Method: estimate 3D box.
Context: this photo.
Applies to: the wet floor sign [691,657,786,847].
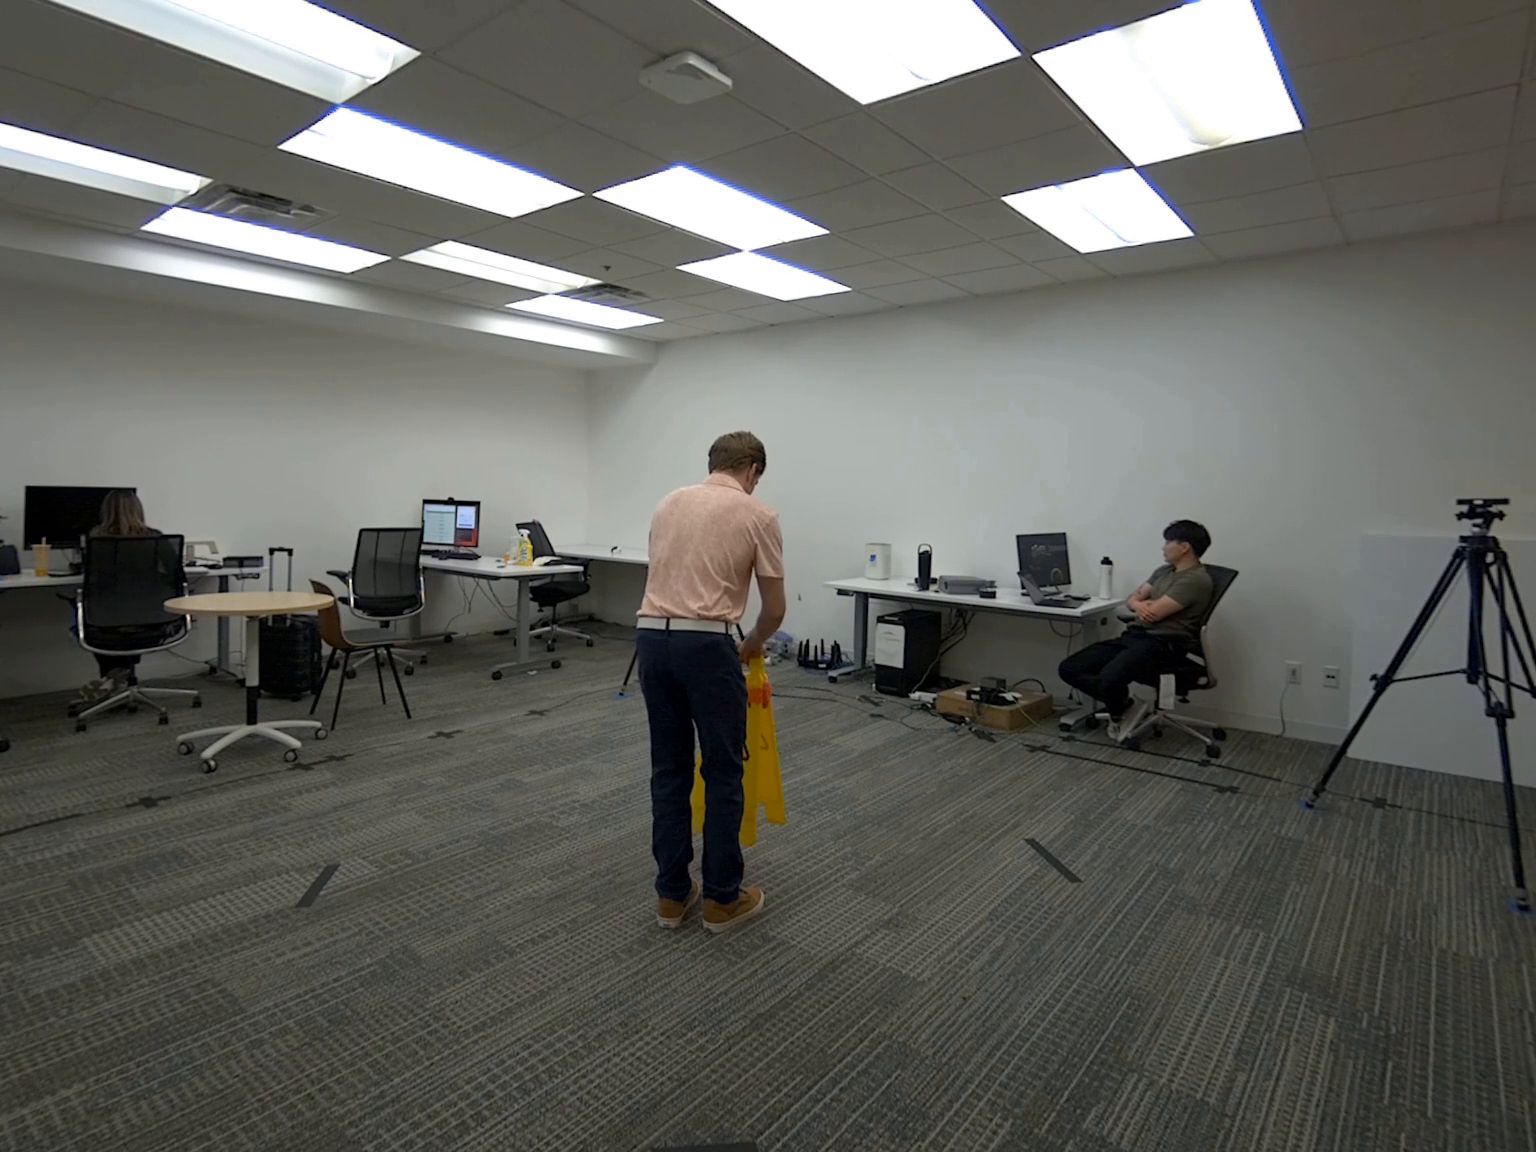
[{"bbox_3d":[-0.117,0.587,3.092,0.290,0.645,0.282,2,2,30],"label":"wet floor sign"}]
